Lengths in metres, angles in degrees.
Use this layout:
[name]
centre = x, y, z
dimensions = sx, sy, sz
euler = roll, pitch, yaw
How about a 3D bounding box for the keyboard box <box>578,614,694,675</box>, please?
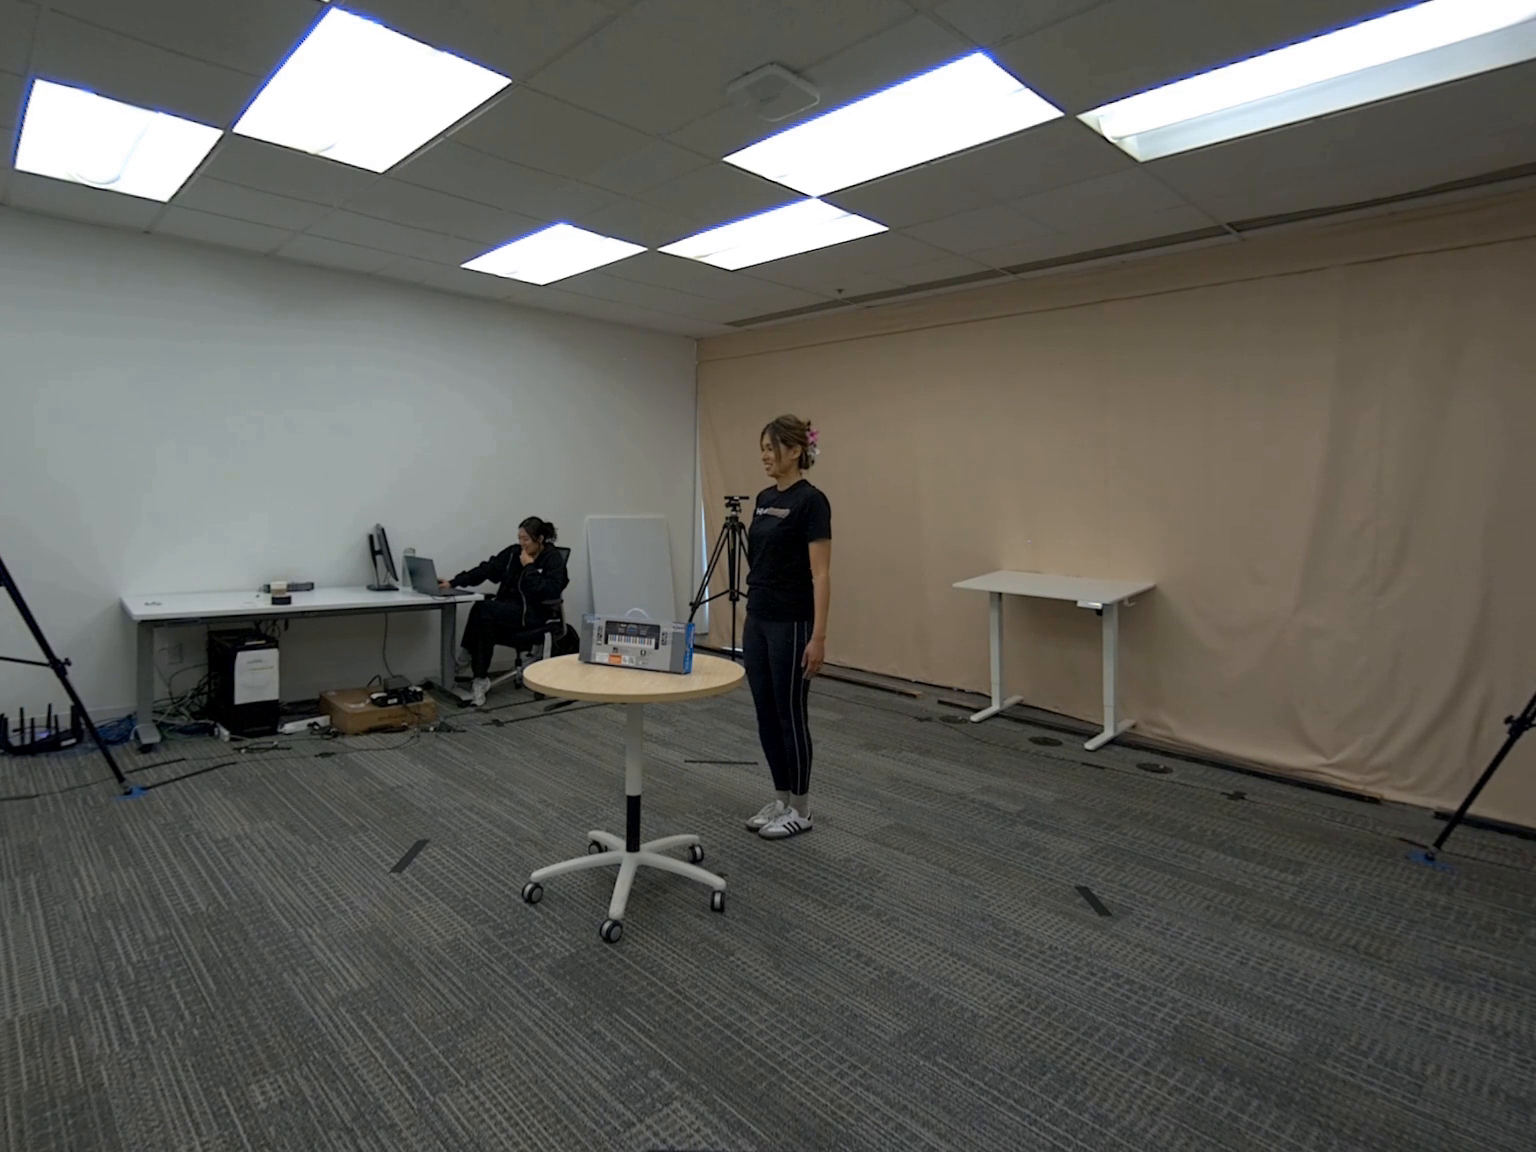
[keyboard box]
centre = -0.473, 0.236, 2.975
dimensions = 0.445, 0.176, 0.058
euler = 3, -3, 24
